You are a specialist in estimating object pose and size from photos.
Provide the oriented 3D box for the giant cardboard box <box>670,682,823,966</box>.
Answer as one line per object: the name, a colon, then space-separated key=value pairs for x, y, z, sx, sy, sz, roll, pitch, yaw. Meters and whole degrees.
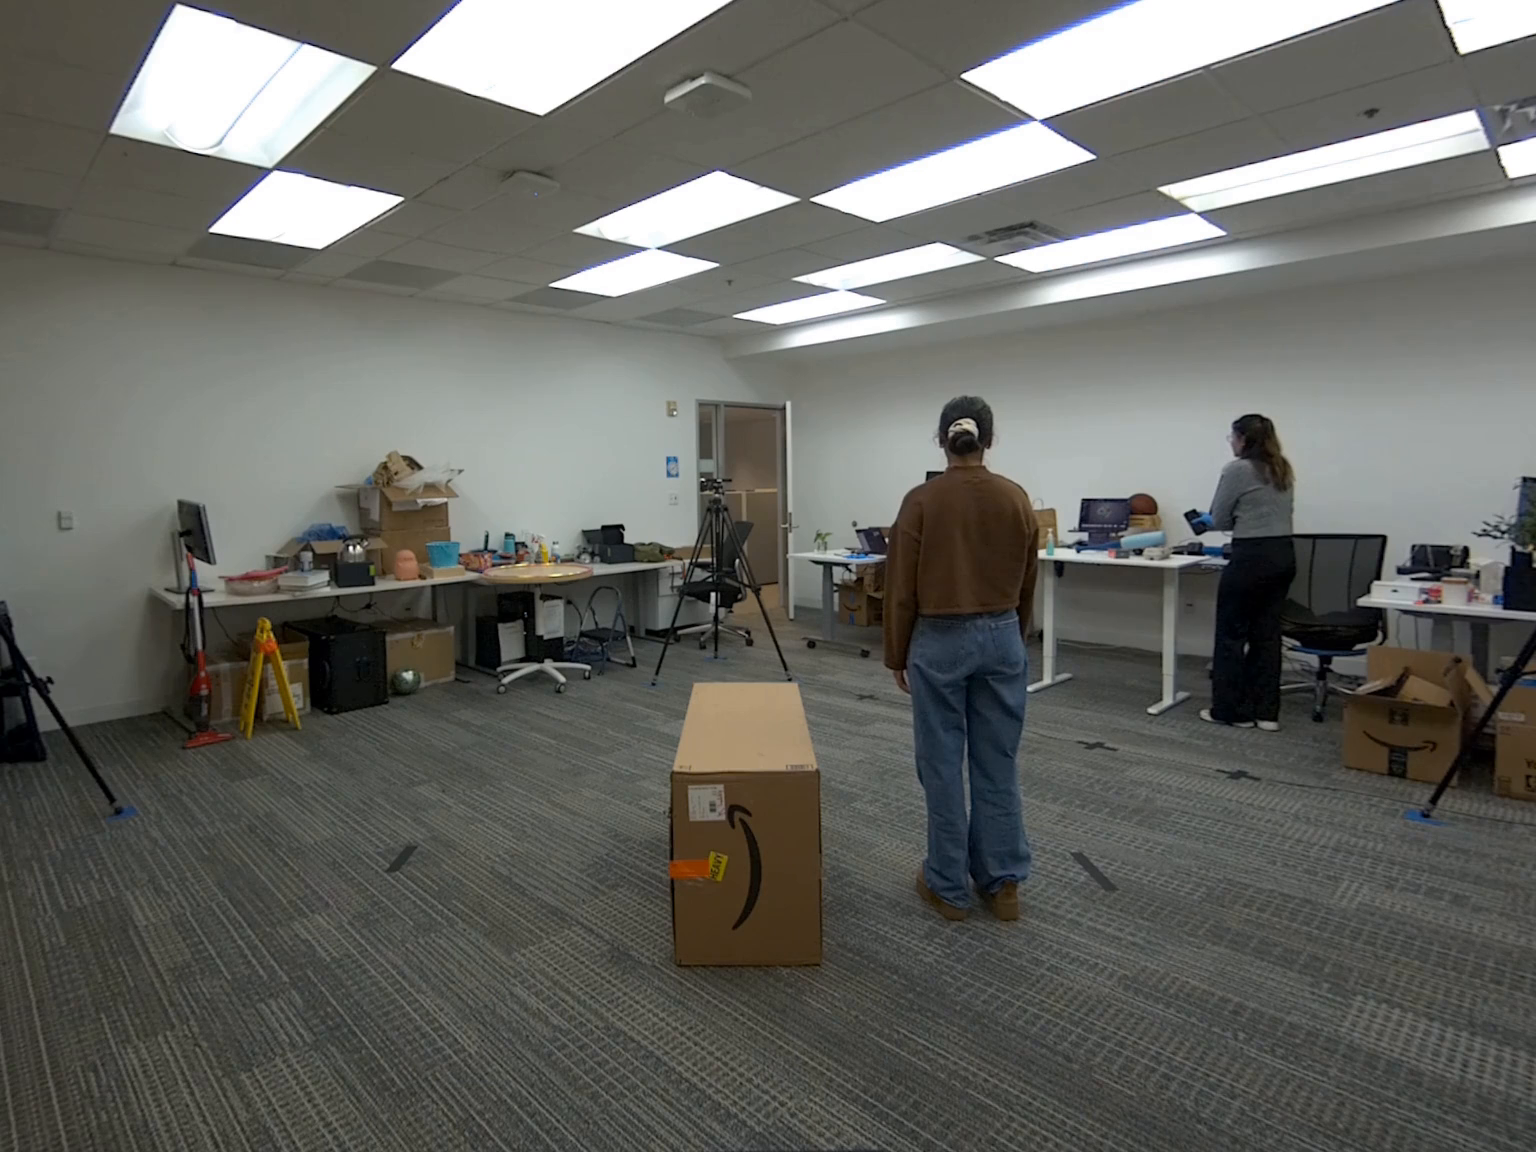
giant cardboard box: x=-0.073 y=0.778 z=2.941 sx=0.447 sy=0.581 sz=1.031 roll=1 pitch=6 yaw=-1
